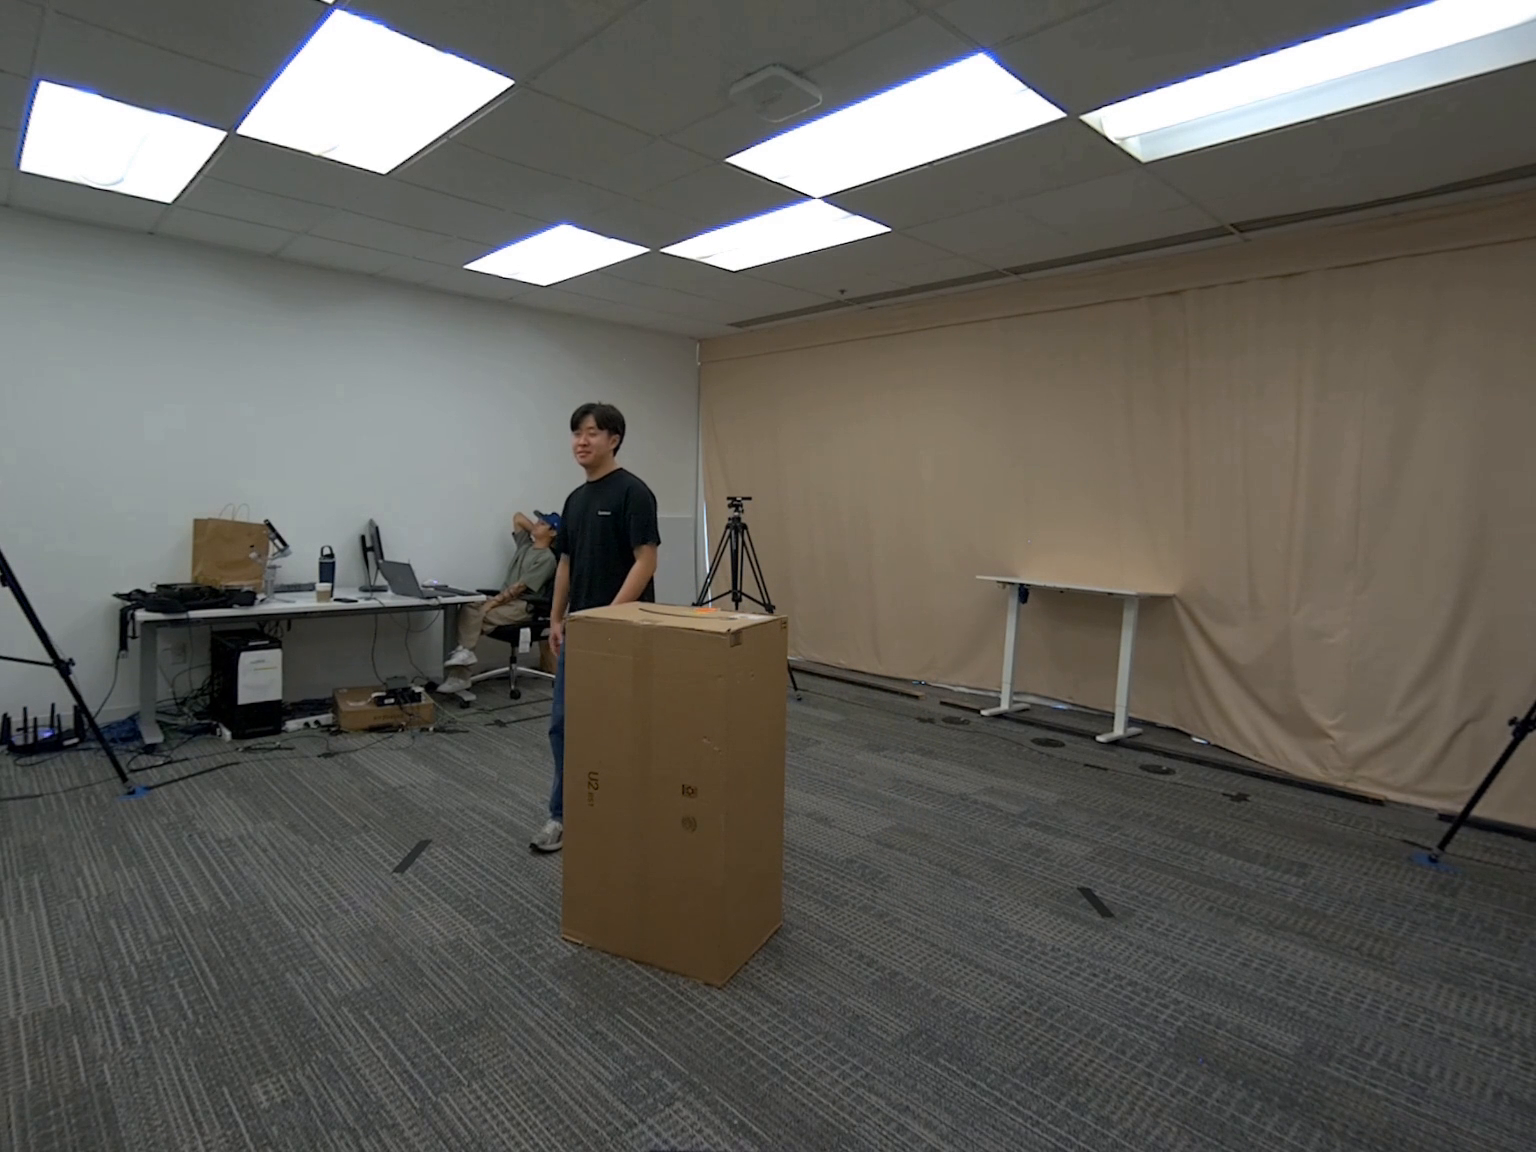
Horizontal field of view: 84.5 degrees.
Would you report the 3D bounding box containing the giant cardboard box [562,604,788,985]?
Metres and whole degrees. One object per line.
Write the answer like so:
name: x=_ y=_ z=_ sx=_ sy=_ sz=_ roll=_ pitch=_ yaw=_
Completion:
giant cardboard box: x=-0.292 y=0.631 z=2.678 sx=0.596 sy=1.025 sz=0.438 roll=3 pitch=2 yaw=28
